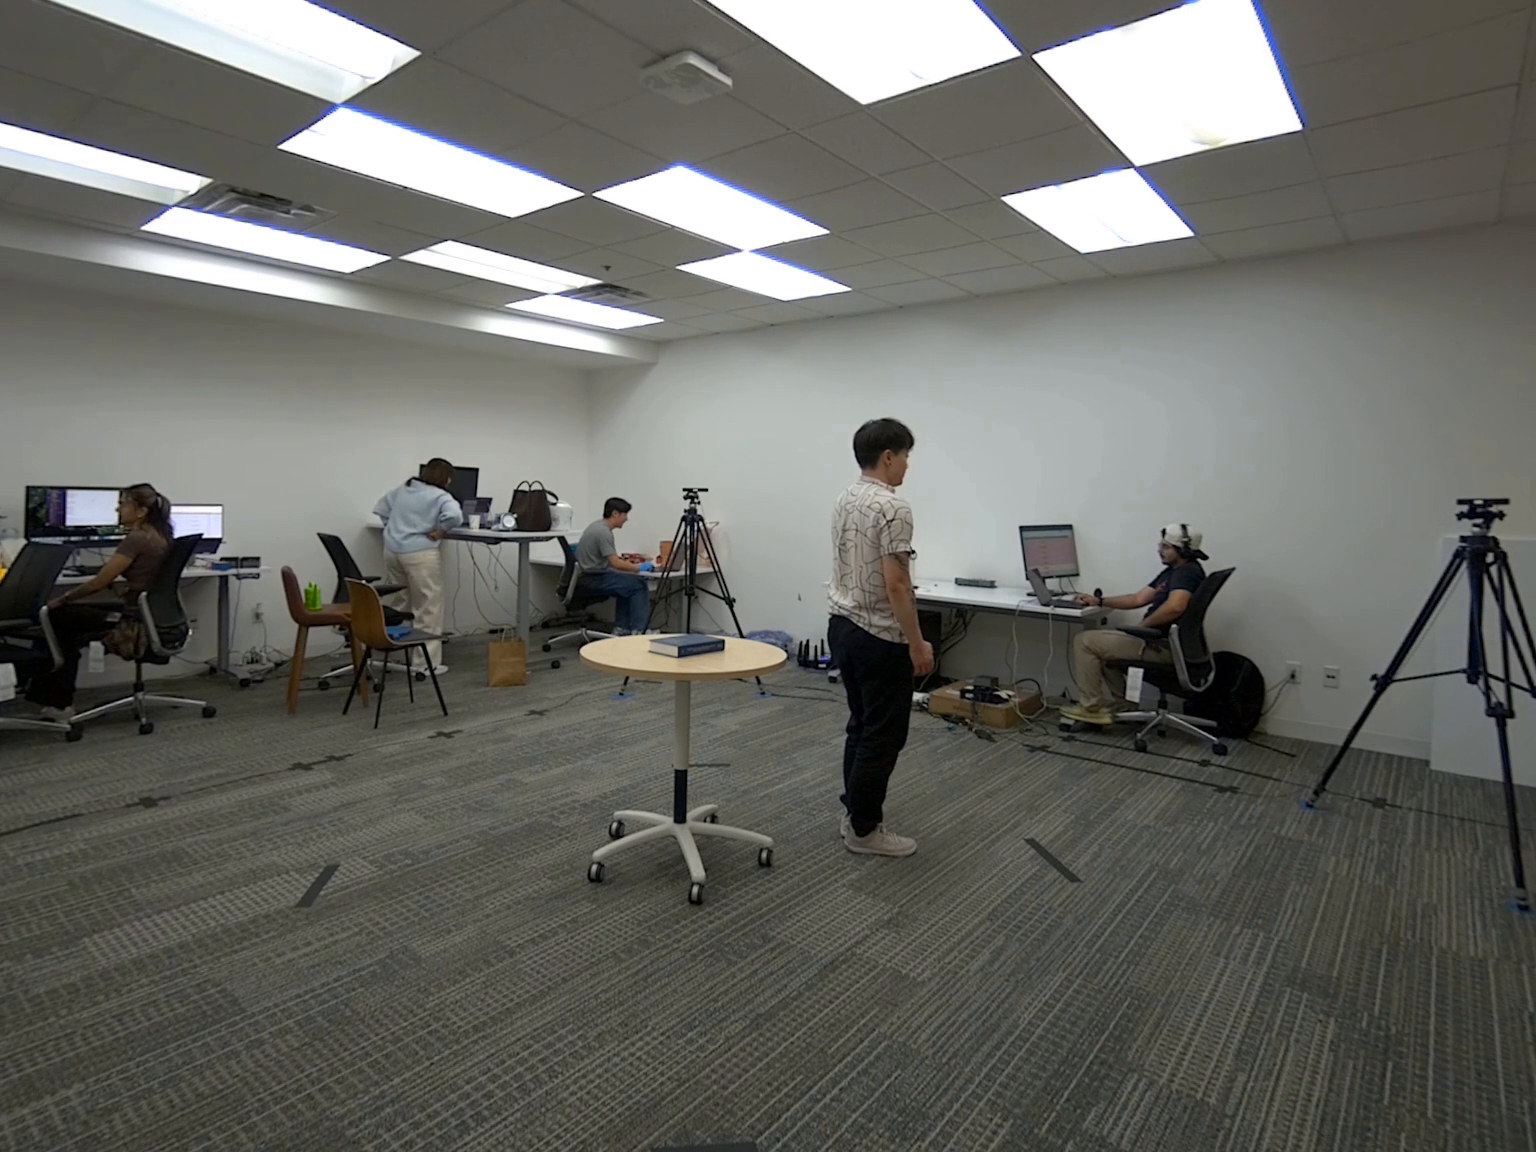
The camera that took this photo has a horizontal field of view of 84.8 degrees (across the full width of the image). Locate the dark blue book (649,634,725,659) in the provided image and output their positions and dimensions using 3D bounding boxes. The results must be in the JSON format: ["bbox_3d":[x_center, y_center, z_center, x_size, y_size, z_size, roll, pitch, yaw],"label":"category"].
[{"bbox_3d":[-0.316,0.261,3.178,0.169,0.045,0.238,6,7,43],"label":"dark blue book"}]
